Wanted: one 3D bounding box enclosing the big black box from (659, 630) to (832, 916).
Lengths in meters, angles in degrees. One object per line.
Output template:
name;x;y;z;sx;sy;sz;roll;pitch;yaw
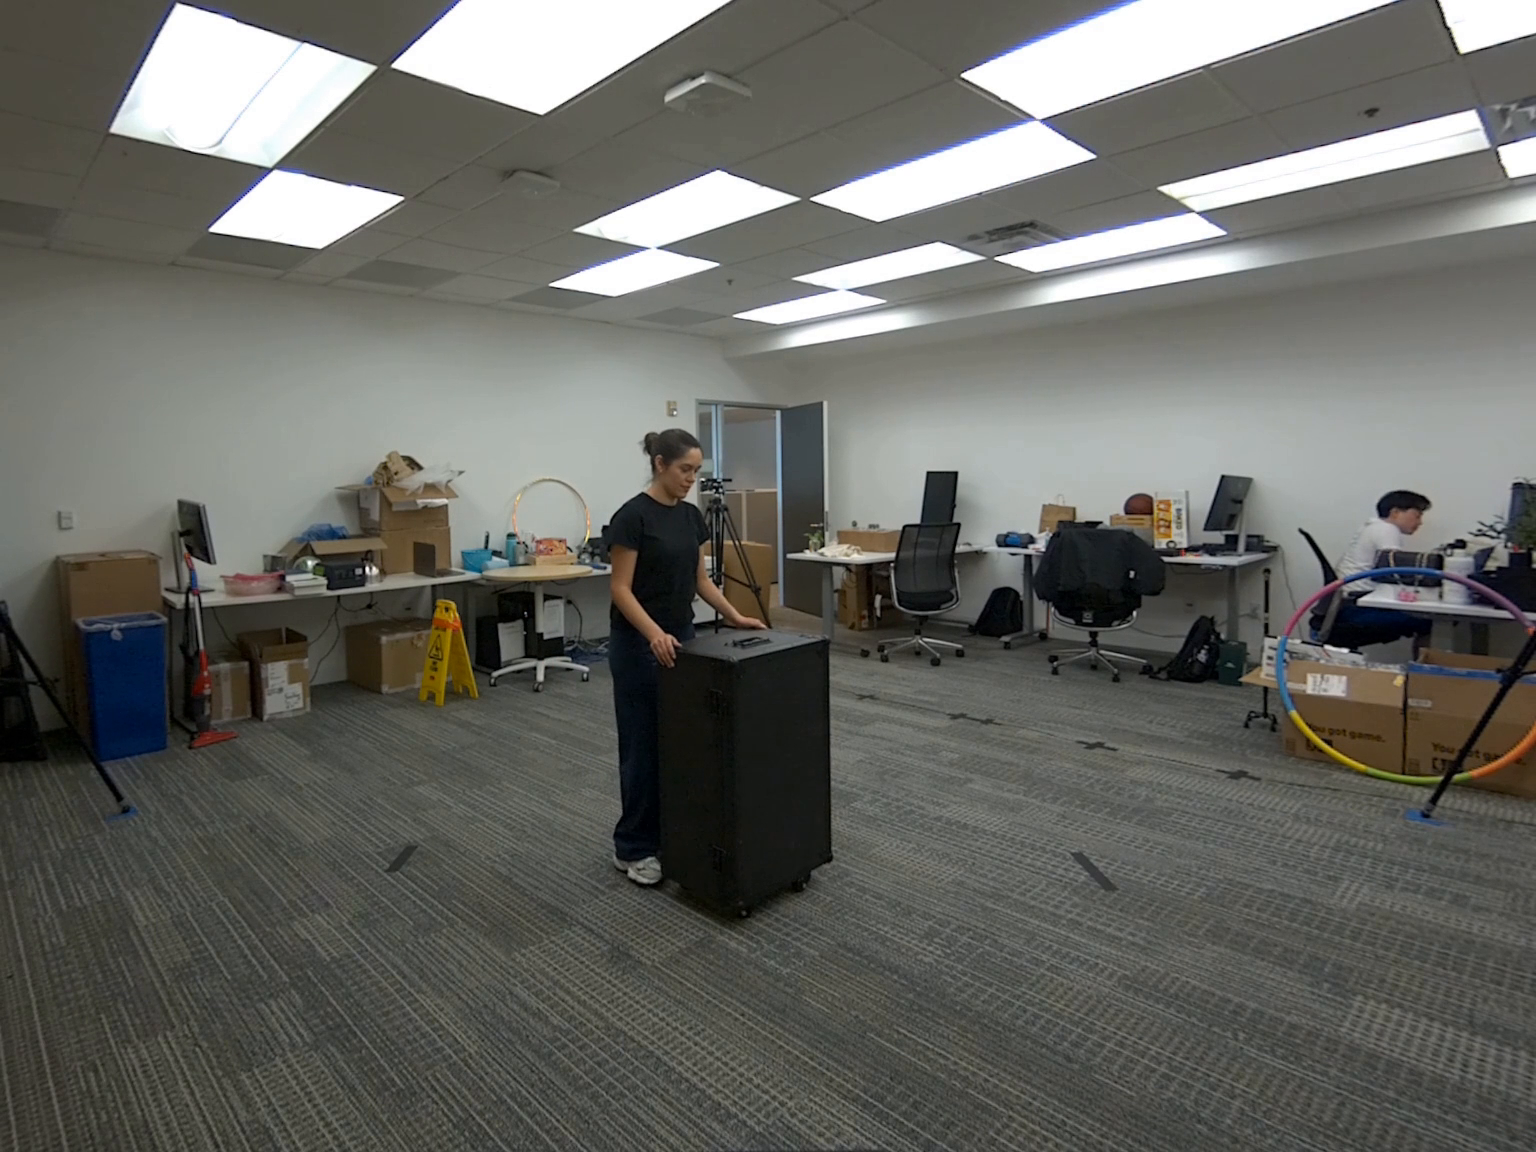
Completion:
big black box;-0.084;0.644;2.898;0.408;0.859;0.507;2;5;43
